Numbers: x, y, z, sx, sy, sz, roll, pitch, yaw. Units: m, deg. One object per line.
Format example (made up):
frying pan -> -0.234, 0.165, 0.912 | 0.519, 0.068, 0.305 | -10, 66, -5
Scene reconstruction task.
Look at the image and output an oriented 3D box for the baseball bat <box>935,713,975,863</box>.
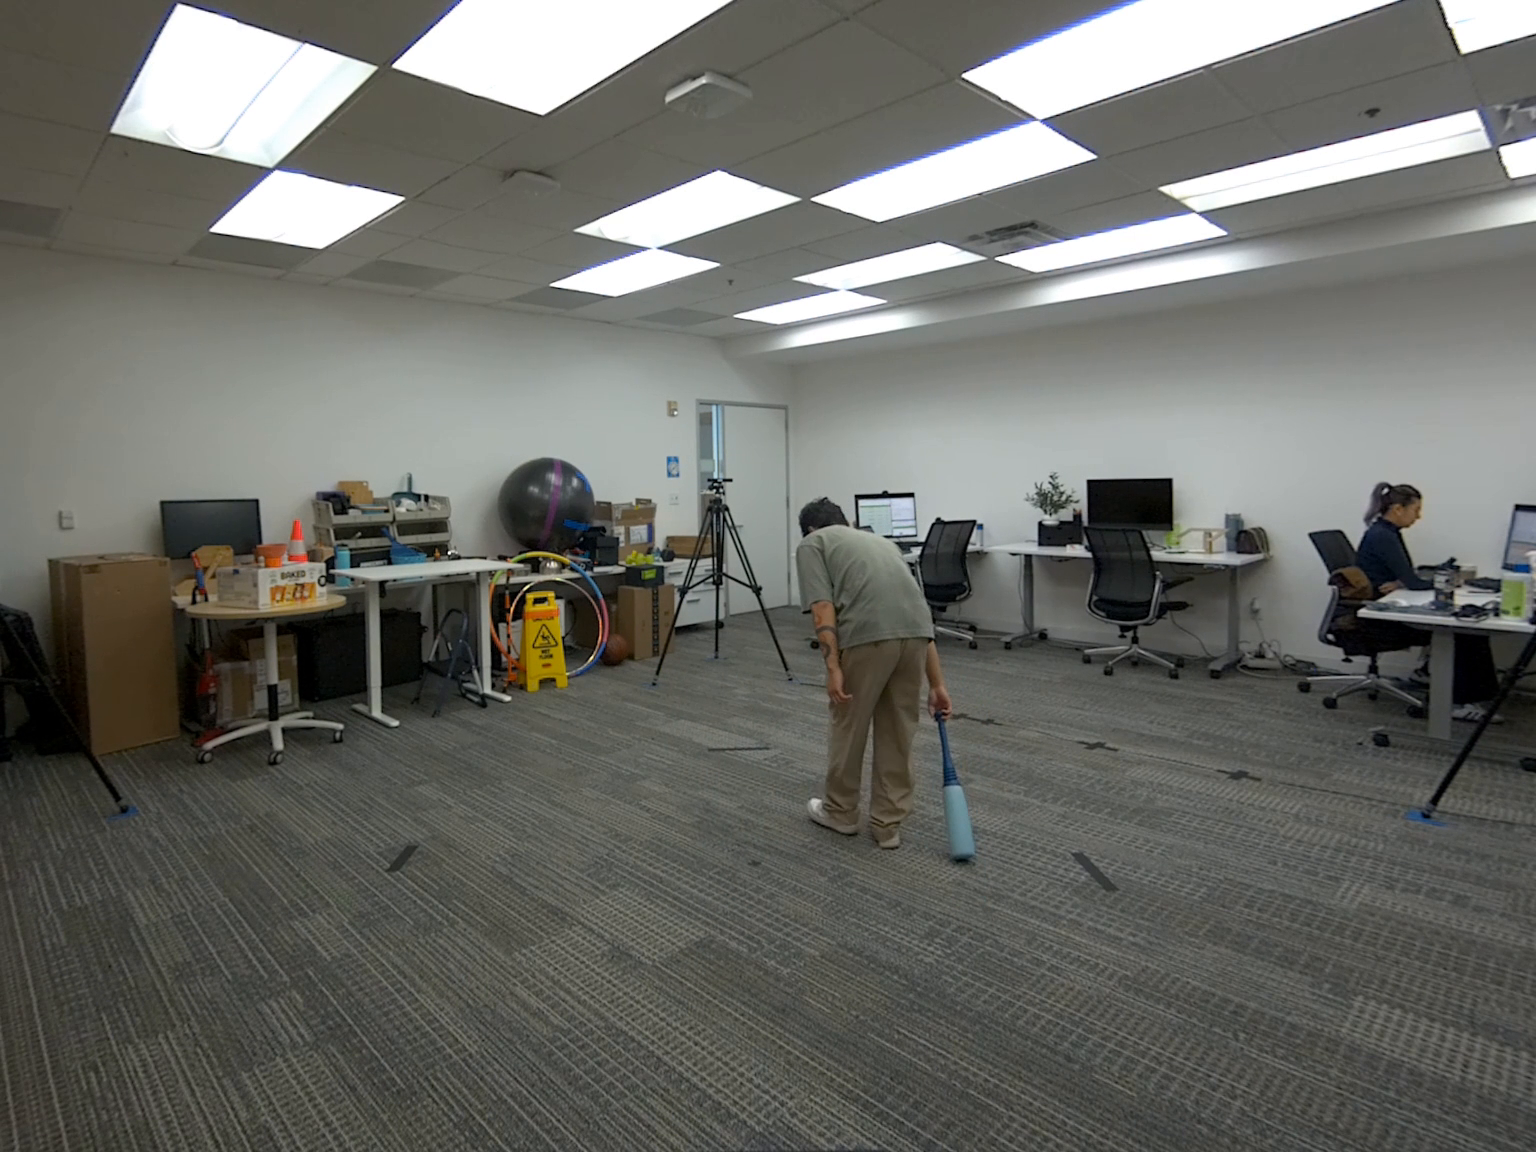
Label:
baseball bat -> 0.693, 0.781, 3.209 | 0.089, 0.556, 0.087 | -1, -29, -2
